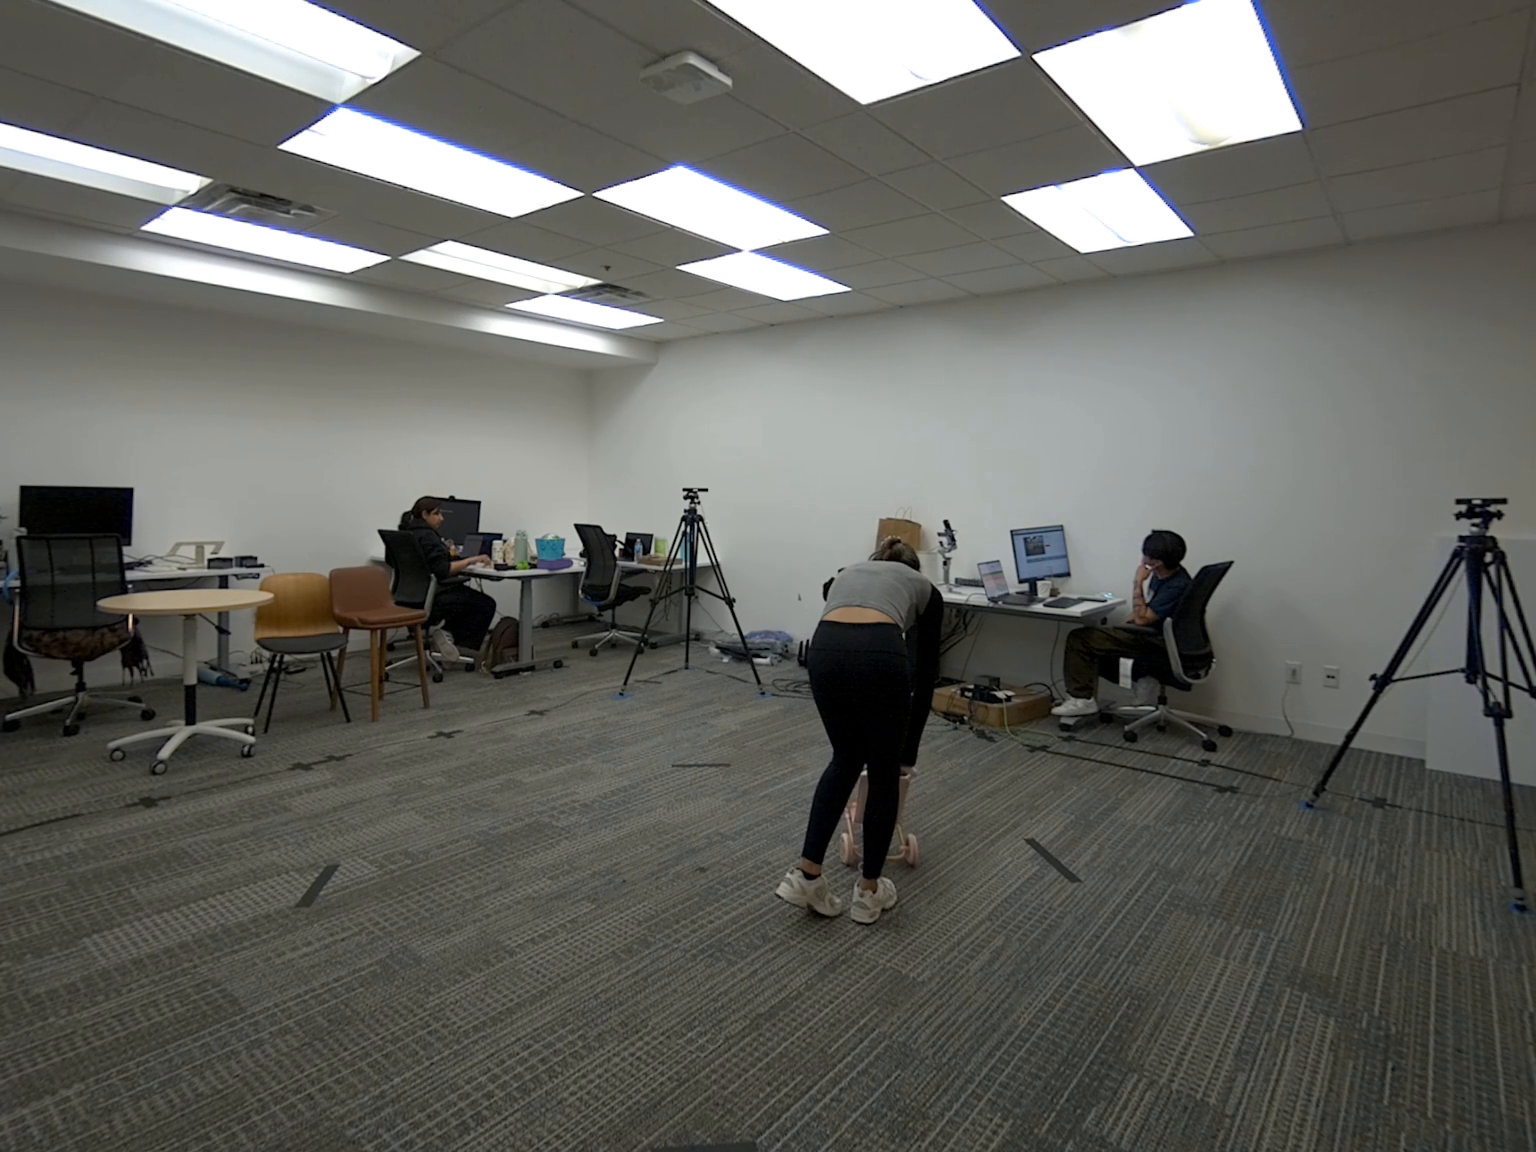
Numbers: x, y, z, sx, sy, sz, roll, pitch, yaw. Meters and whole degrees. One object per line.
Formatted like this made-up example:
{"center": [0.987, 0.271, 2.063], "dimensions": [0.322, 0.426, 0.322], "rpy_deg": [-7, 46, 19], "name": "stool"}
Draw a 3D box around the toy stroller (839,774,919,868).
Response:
{"center": [0.412, 0.845, 3.245], "dimensions": [0.282, 0.526, 0.347], "rpy_deg": [2, 20, 0], "name": "toy stroller"}
